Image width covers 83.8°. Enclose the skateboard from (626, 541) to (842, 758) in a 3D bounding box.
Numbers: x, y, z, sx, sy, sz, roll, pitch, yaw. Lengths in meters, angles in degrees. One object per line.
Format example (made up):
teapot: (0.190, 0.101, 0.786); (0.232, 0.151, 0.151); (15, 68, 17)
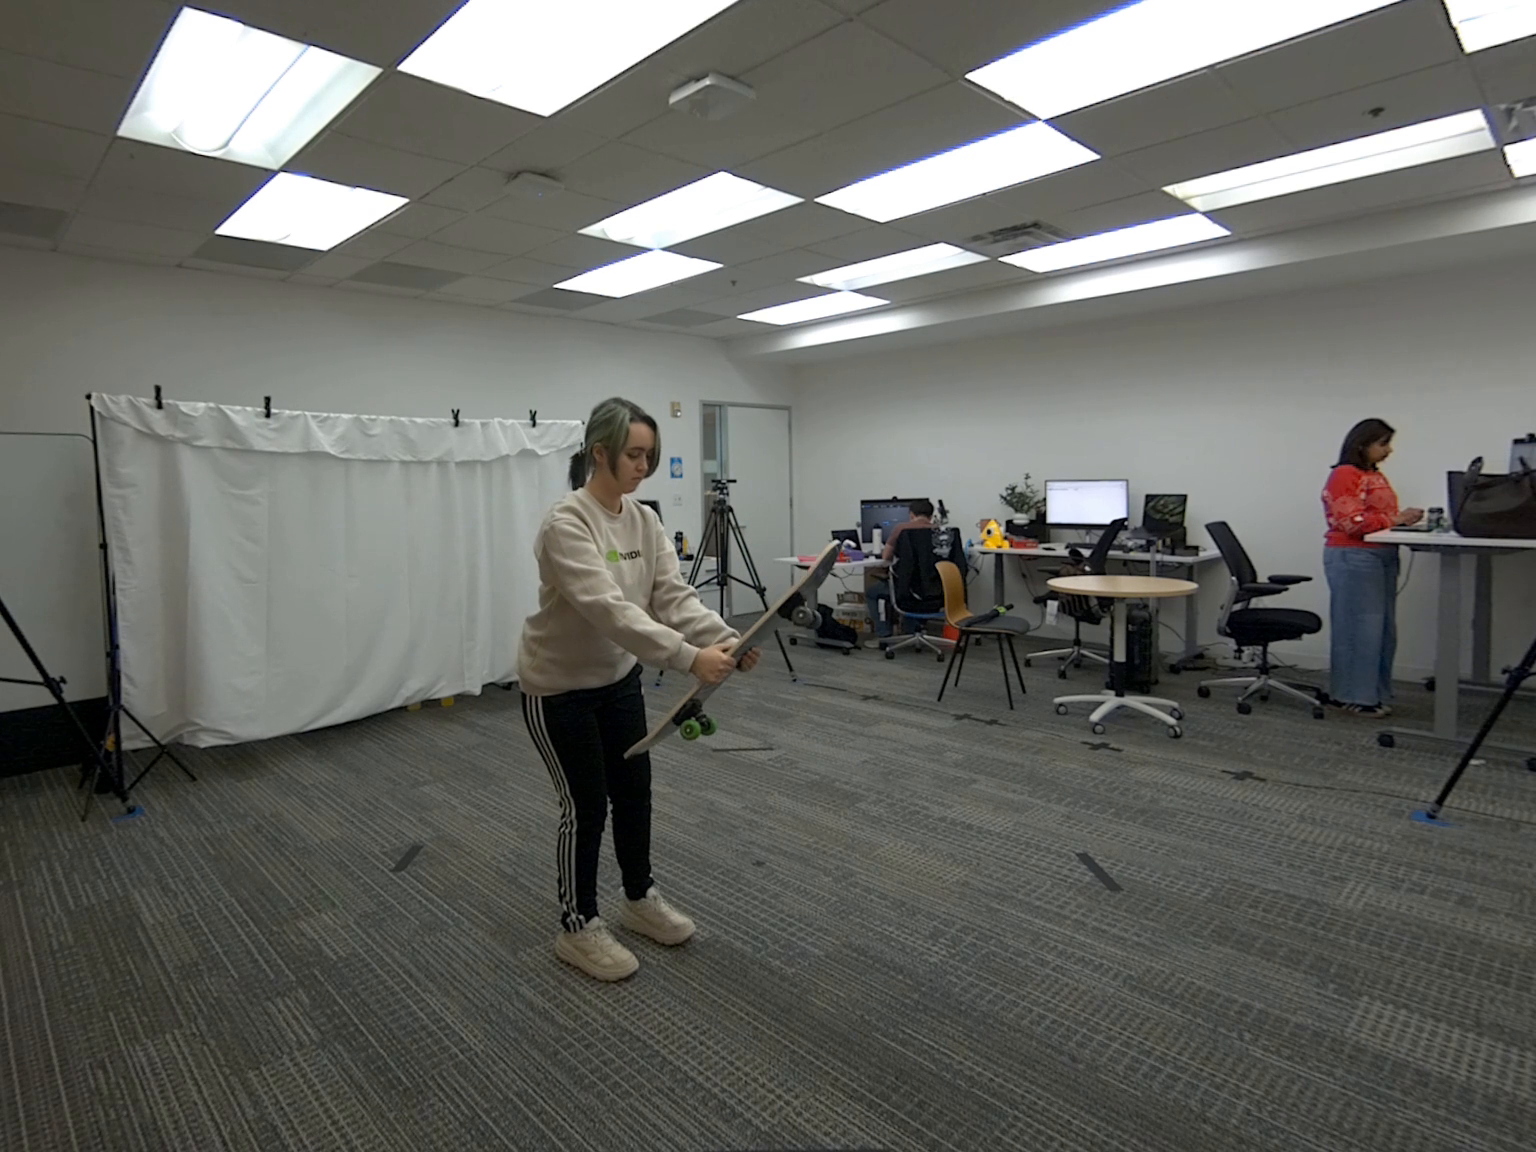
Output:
skateboard: (-0.061, 0.233, 2.187); (0.112, 0.785, 0.189); (45, 2, 14)
